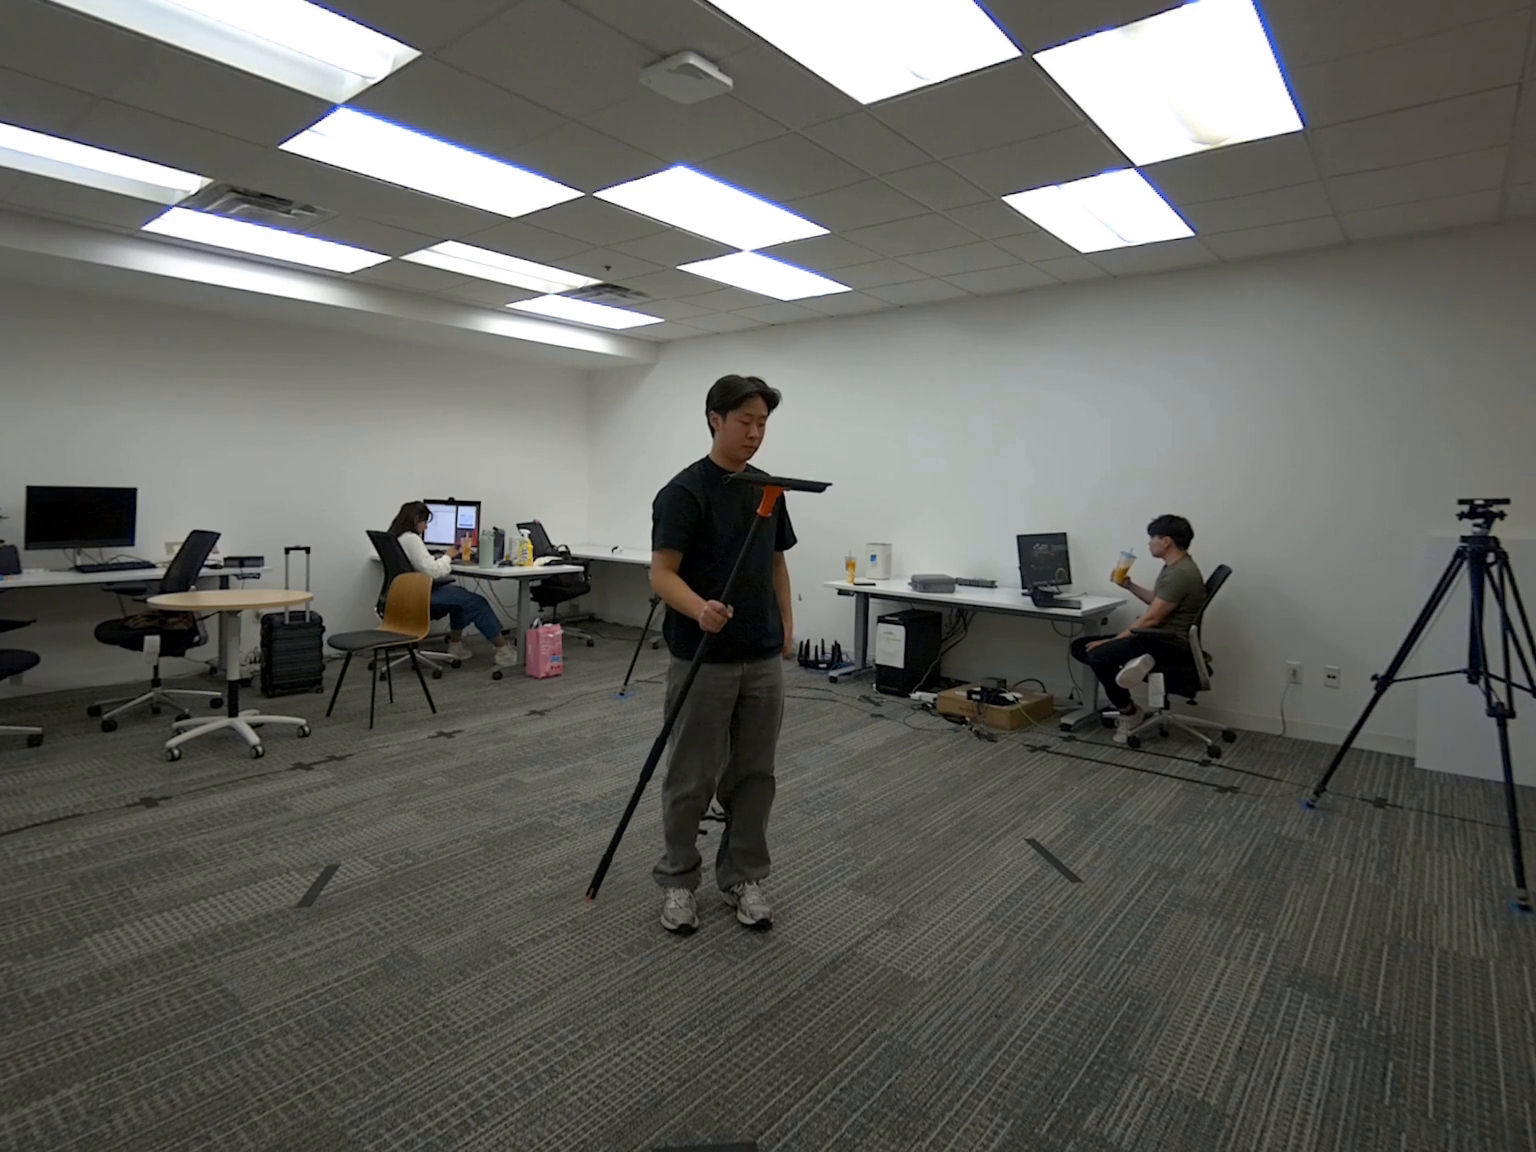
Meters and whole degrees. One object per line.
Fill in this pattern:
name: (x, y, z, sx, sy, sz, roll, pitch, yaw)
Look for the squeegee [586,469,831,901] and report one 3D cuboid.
squeegee: (-0.289, 0.381, 2.504, 0.055, 1.527, 0.423, 38, 20, 31)
